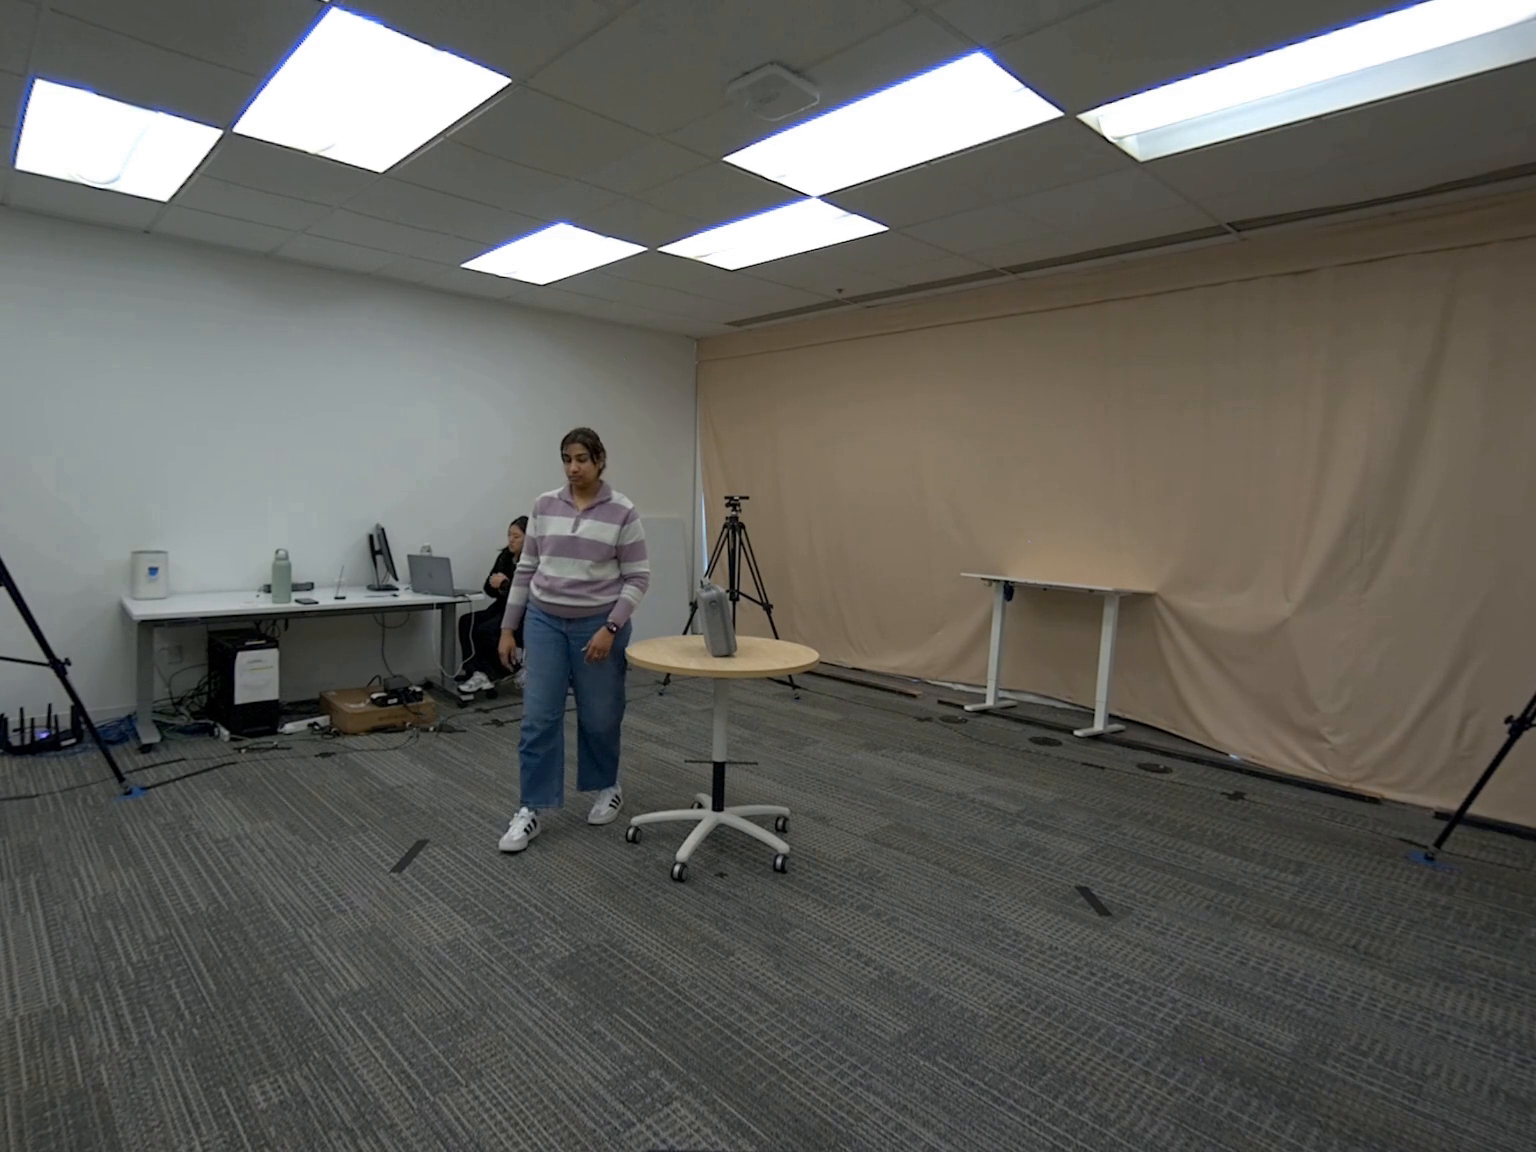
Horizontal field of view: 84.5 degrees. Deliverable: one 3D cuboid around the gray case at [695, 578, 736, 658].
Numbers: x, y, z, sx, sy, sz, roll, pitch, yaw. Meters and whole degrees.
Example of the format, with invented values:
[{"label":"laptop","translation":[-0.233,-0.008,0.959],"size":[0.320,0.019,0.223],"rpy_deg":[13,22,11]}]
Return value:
[{"label":"gray case","translation":[-0.216,0.167,3.301],"size":[0.104,0.259,0.259],"rpy_deg":[-7,5,-8]}]
